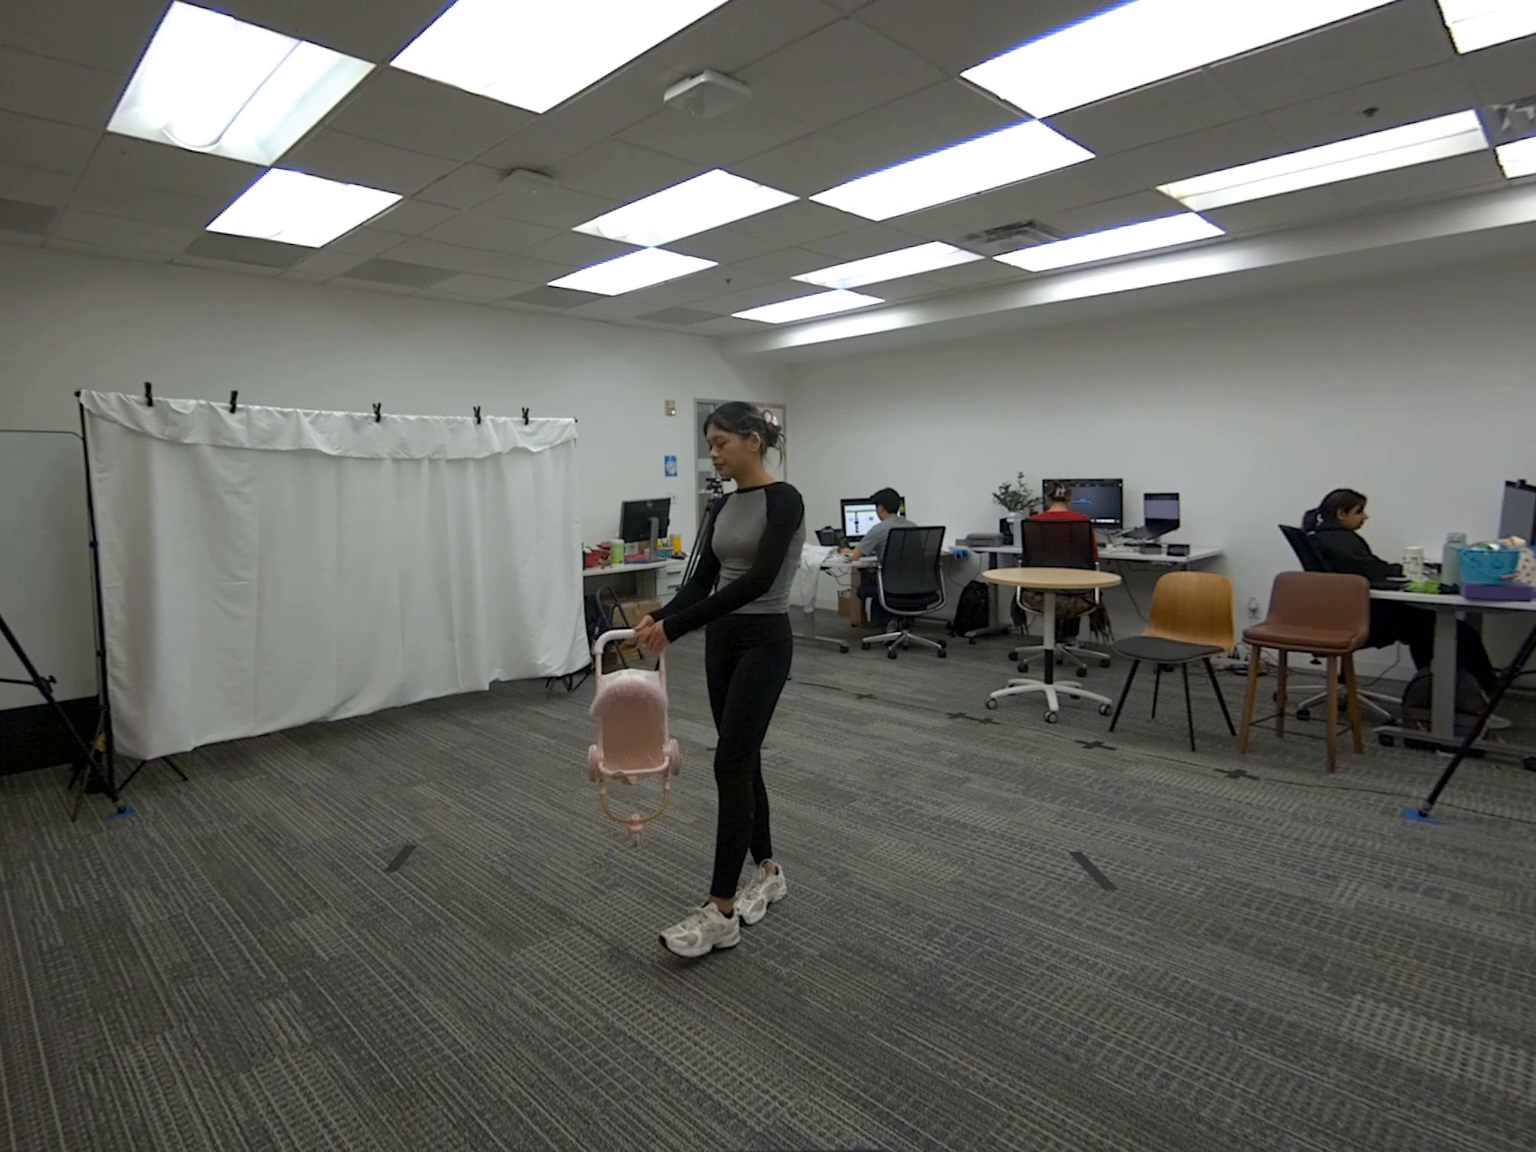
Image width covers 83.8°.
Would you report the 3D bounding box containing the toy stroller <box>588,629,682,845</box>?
[{"bbox_3d":[-0.390,0.474,2.467,0.280,0.525,0.349,-2,22,-6],"label":"toy stroller"}]
